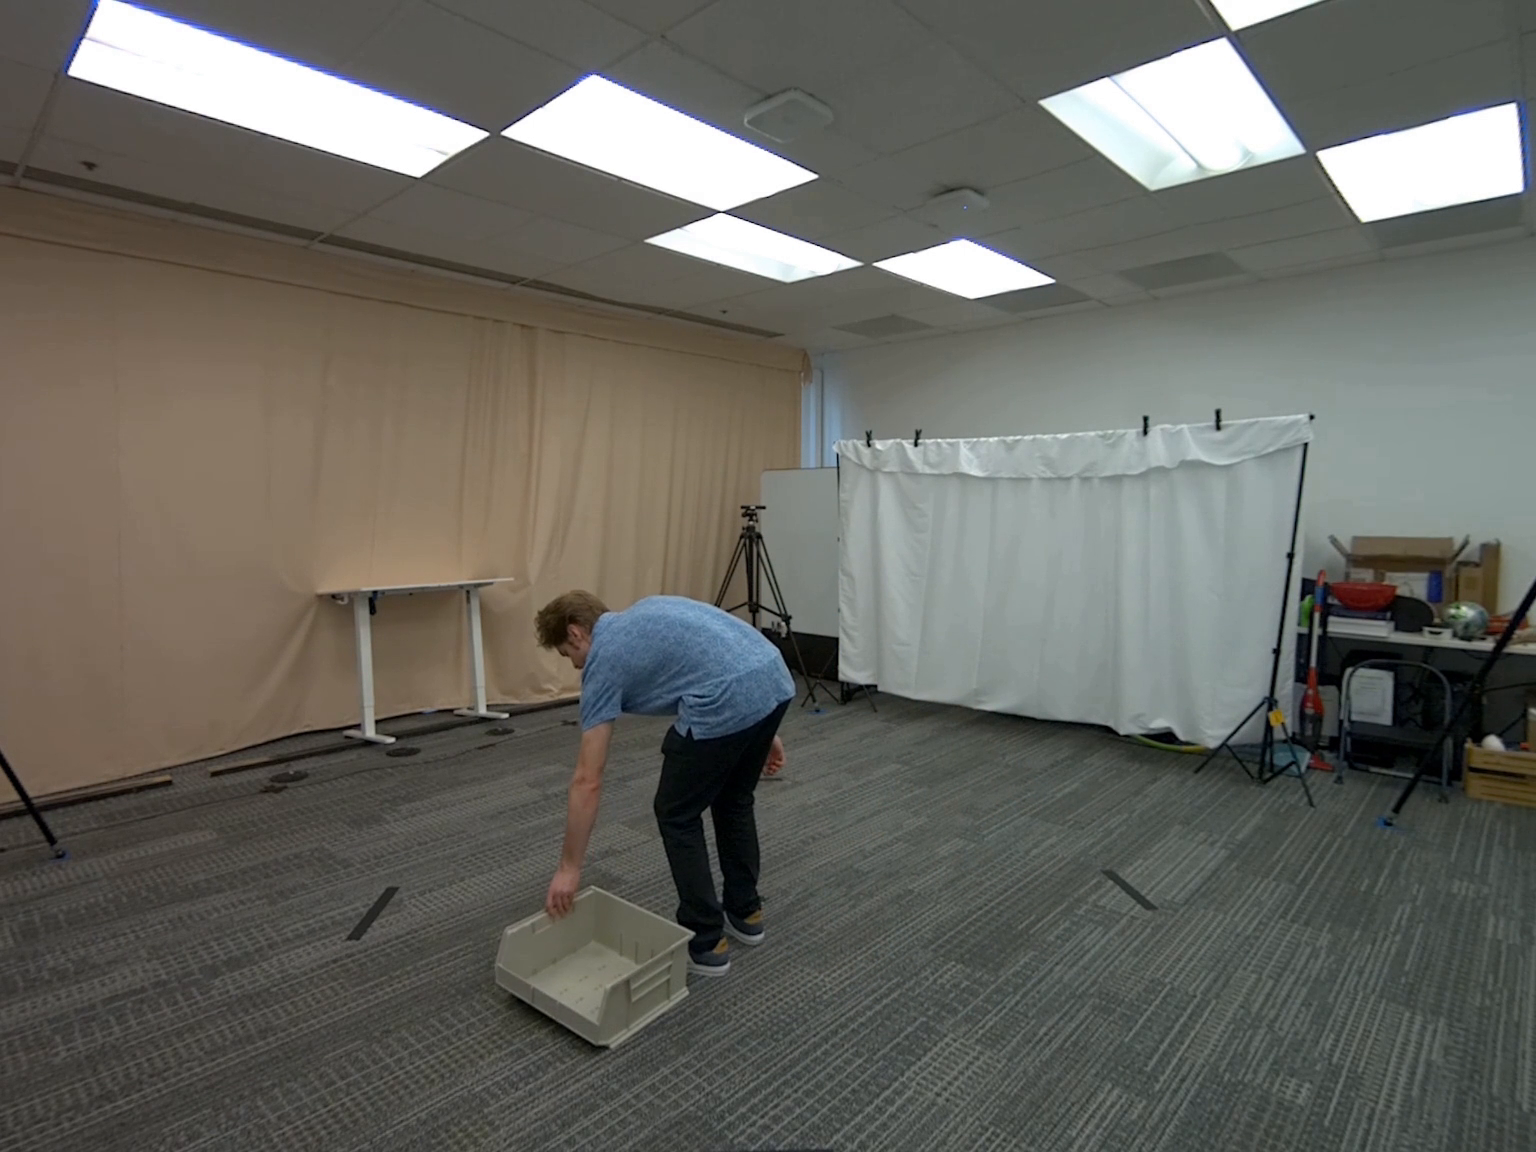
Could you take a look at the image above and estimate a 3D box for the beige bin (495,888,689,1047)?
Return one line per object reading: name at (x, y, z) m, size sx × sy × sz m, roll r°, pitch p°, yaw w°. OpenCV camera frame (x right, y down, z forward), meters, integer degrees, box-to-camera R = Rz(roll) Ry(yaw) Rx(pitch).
beige bin at (-0.493, 1.099, 2.375) m, size 0.436 × 0.188 × 0.366 m, roll 6°, pitch 6°, yaw 36°
